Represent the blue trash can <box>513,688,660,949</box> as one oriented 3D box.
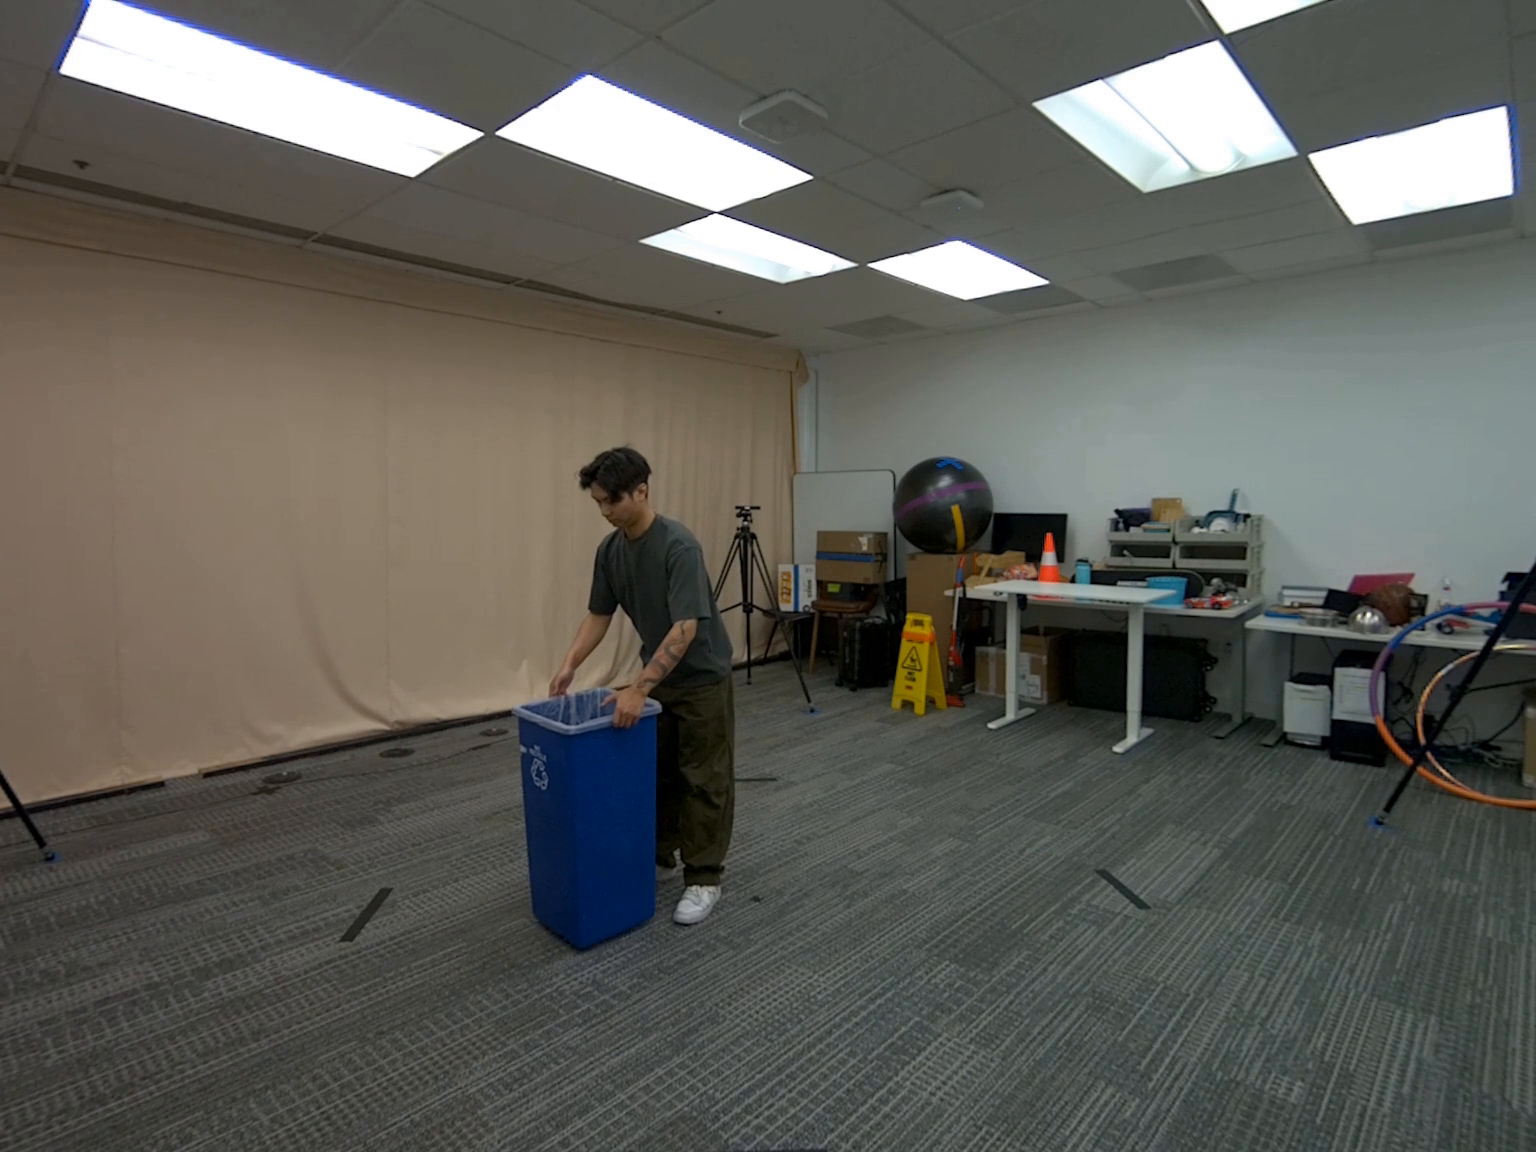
[{"bbox_3d":[-0.579,0.775,2.782,0.367,0.711,0.386,-6,6,-44],"label":"blue trash can"}]
